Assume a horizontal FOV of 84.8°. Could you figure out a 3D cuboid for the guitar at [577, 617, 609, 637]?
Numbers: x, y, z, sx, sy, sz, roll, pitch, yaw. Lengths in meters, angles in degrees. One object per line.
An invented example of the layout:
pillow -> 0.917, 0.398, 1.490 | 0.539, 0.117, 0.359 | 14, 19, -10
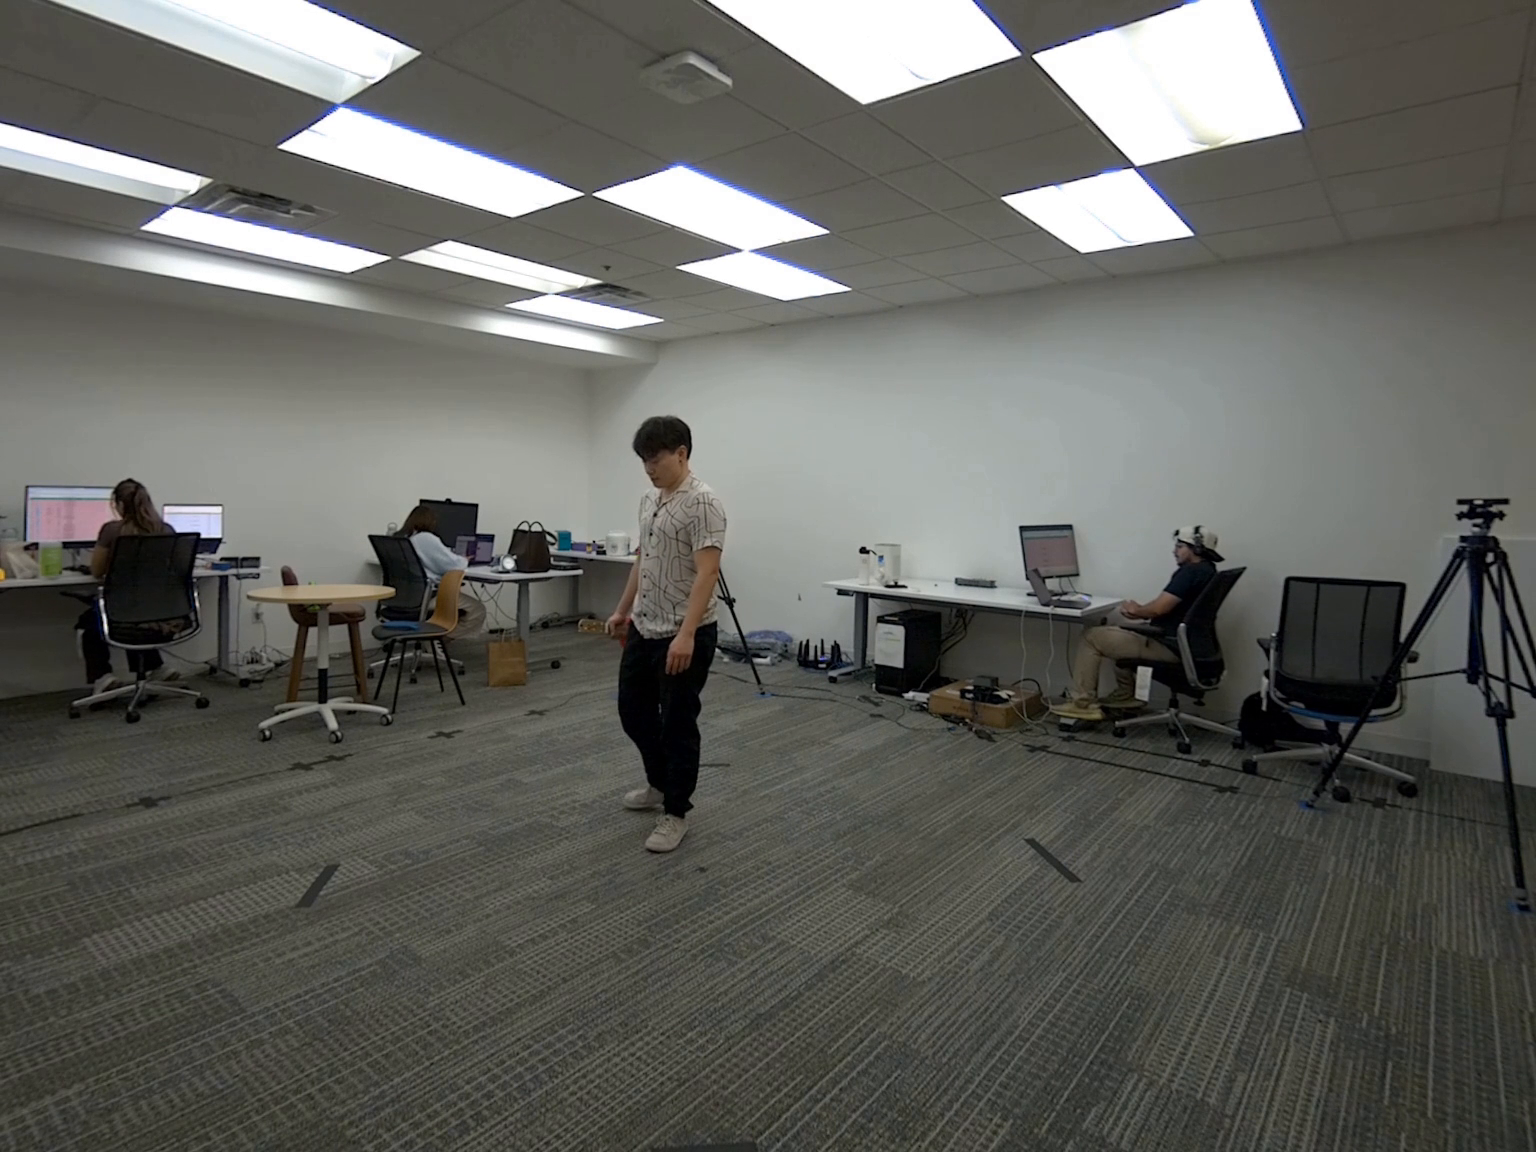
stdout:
guitar -> -0.604, 0.210, 3.632 | 0.479, 0.196, 0.072 | 23, -24, -36
